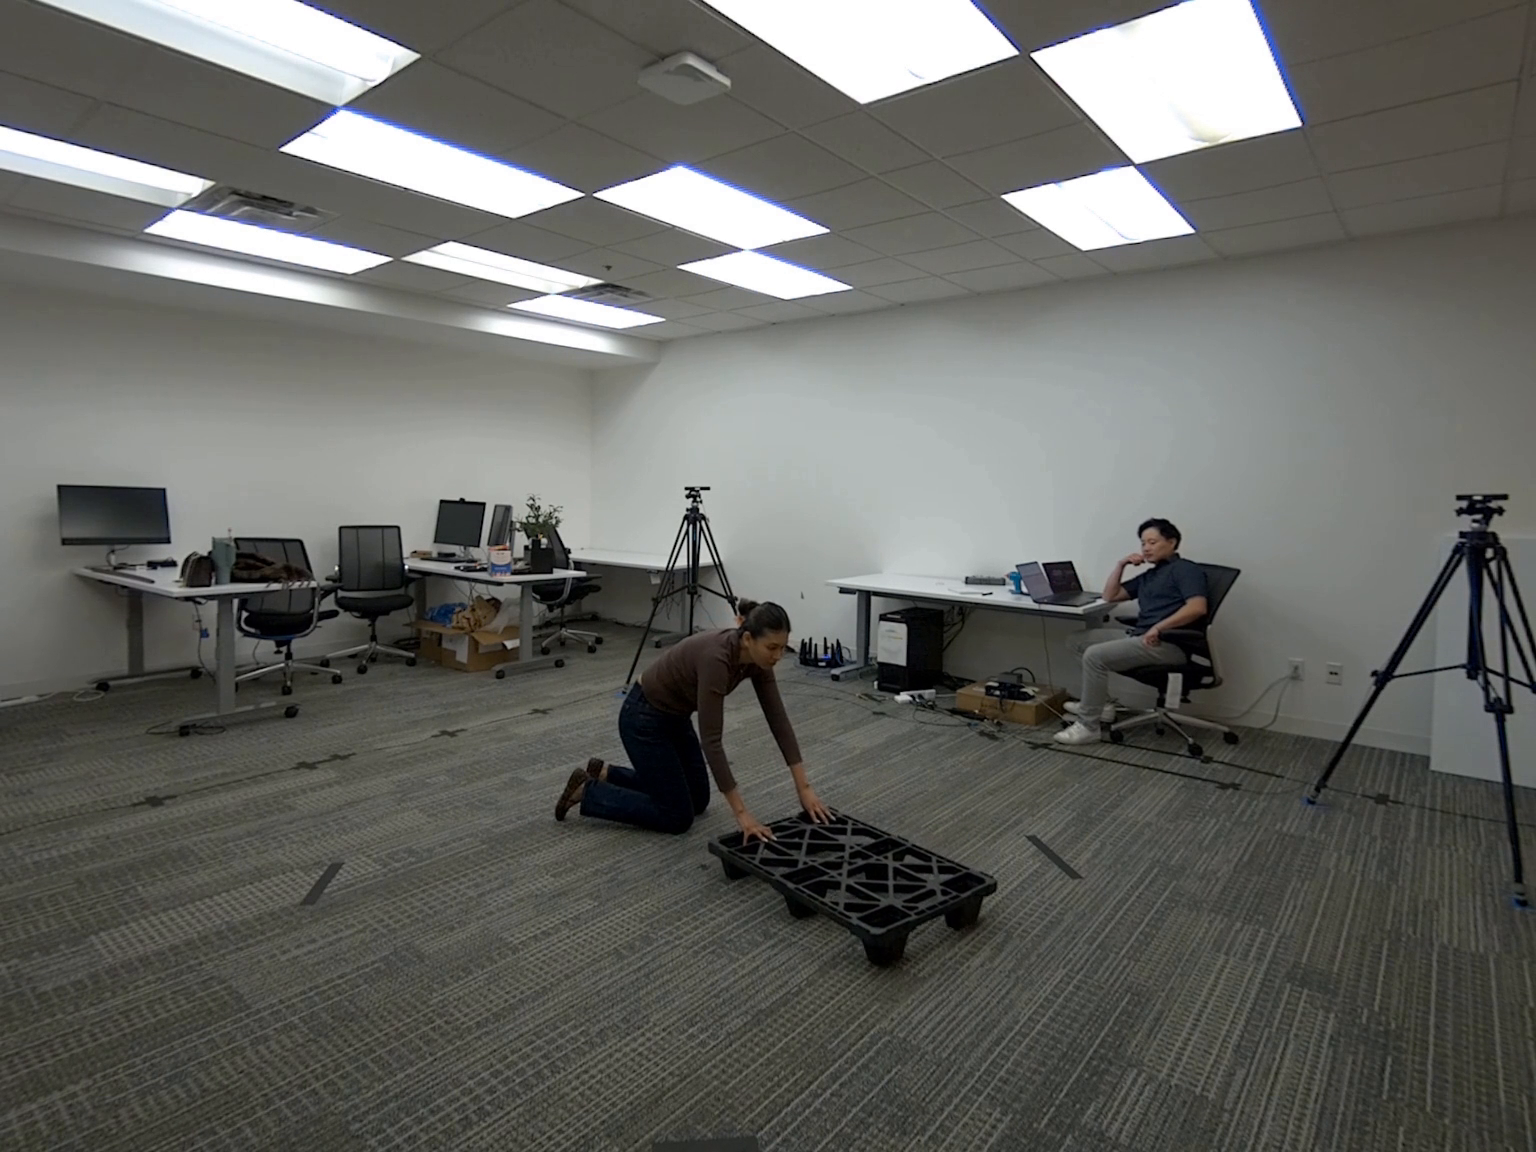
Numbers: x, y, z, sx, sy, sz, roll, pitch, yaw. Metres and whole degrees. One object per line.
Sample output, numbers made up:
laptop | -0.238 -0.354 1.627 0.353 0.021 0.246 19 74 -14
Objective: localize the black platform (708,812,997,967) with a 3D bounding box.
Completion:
black platform | 0.260 1.028 2.908 0.587 0.143 0.833 -3 7 -40
